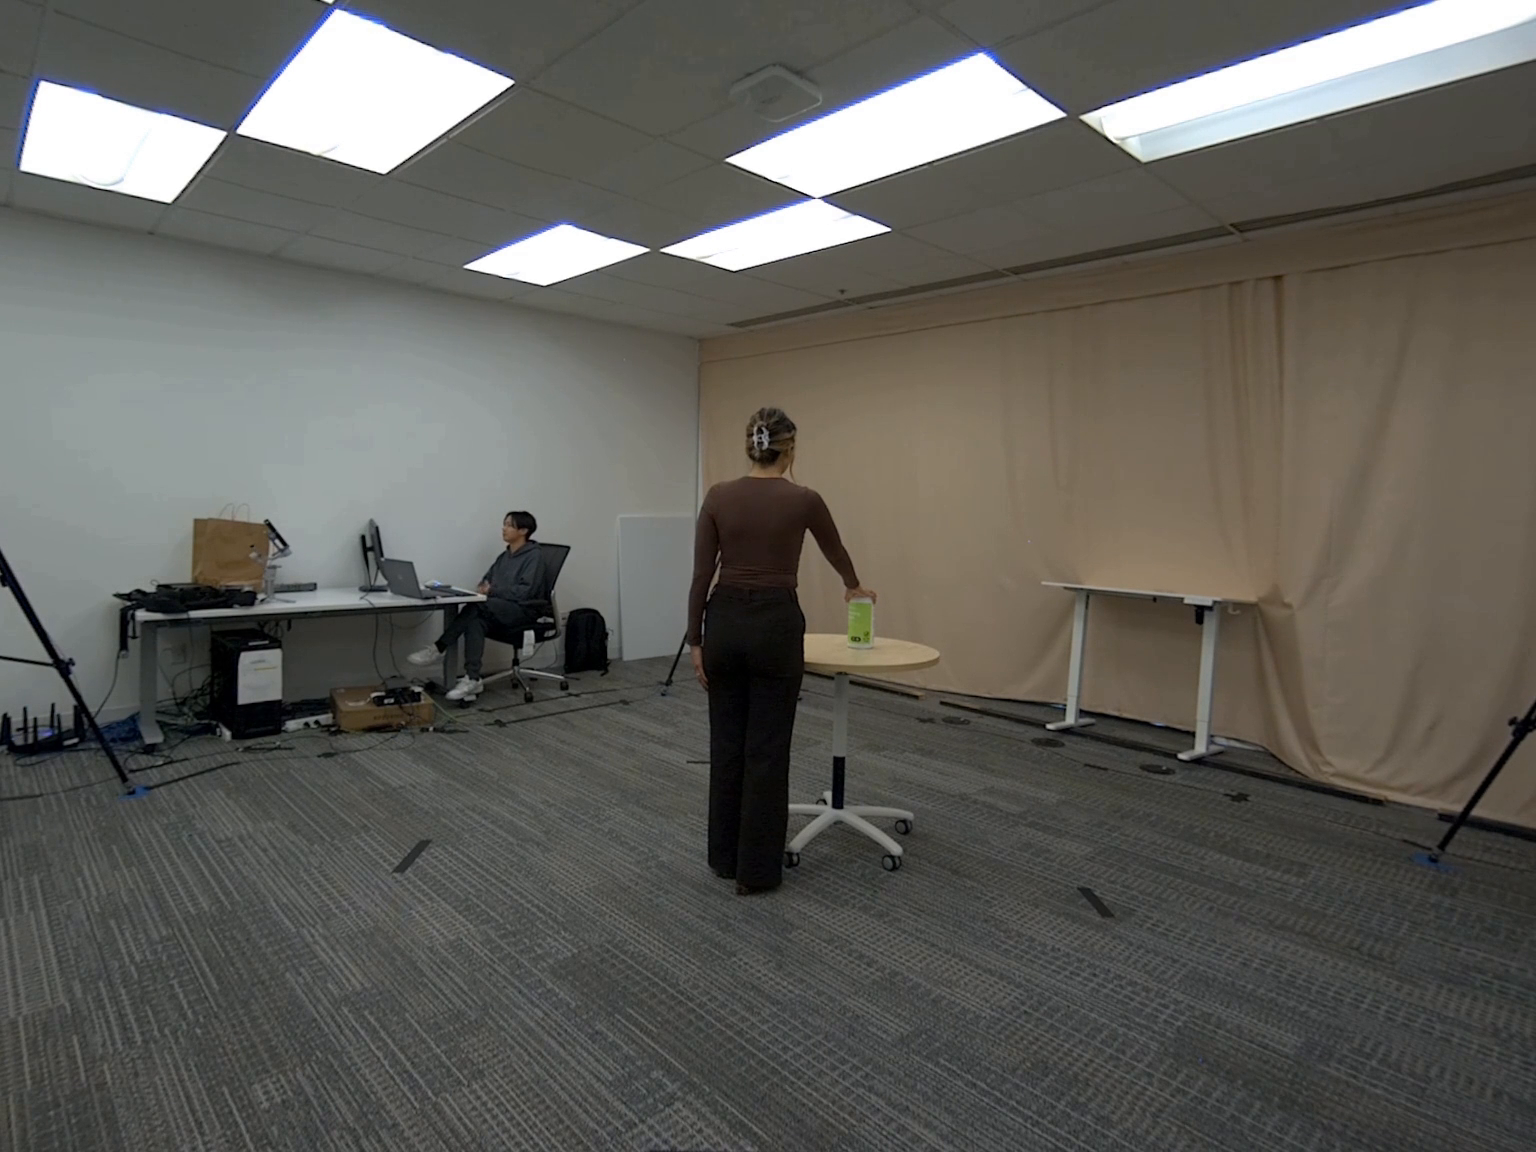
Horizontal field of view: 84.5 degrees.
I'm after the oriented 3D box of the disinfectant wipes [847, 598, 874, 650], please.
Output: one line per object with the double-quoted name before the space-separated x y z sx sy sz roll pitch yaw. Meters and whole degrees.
"disinfectant wipes" 0.375 0.185 3.451 0.118 0.217 0.118 0 4 -1
